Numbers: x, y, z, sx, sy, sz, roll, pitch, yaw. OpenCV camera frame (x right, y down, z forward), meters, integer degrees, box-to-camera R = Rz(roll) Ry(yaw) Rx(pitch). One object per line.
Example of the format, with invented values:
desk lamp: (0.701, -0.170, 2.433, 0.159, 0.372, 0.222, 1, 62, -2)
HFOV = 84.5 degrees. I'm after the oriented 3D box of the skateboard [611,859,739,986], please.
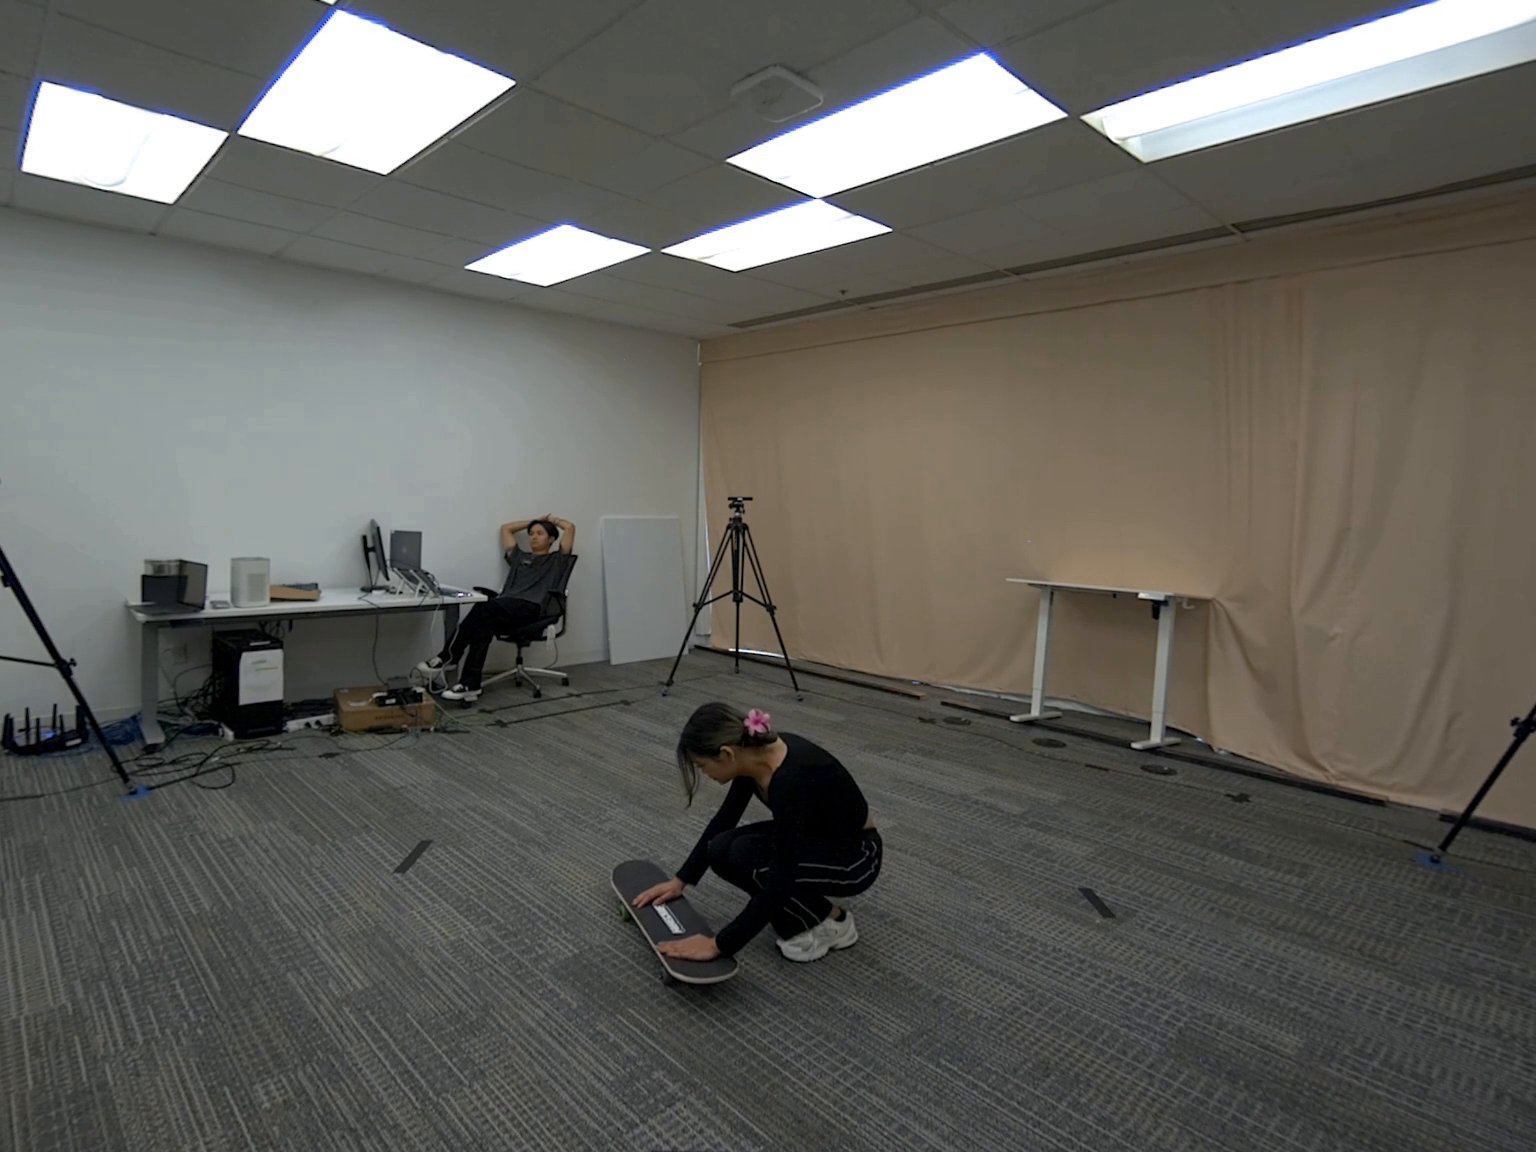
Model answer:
skateboard: (-0.312, 1.086, 2.616, 0.190, 0.110, 0.802, -1, 6, -26)
